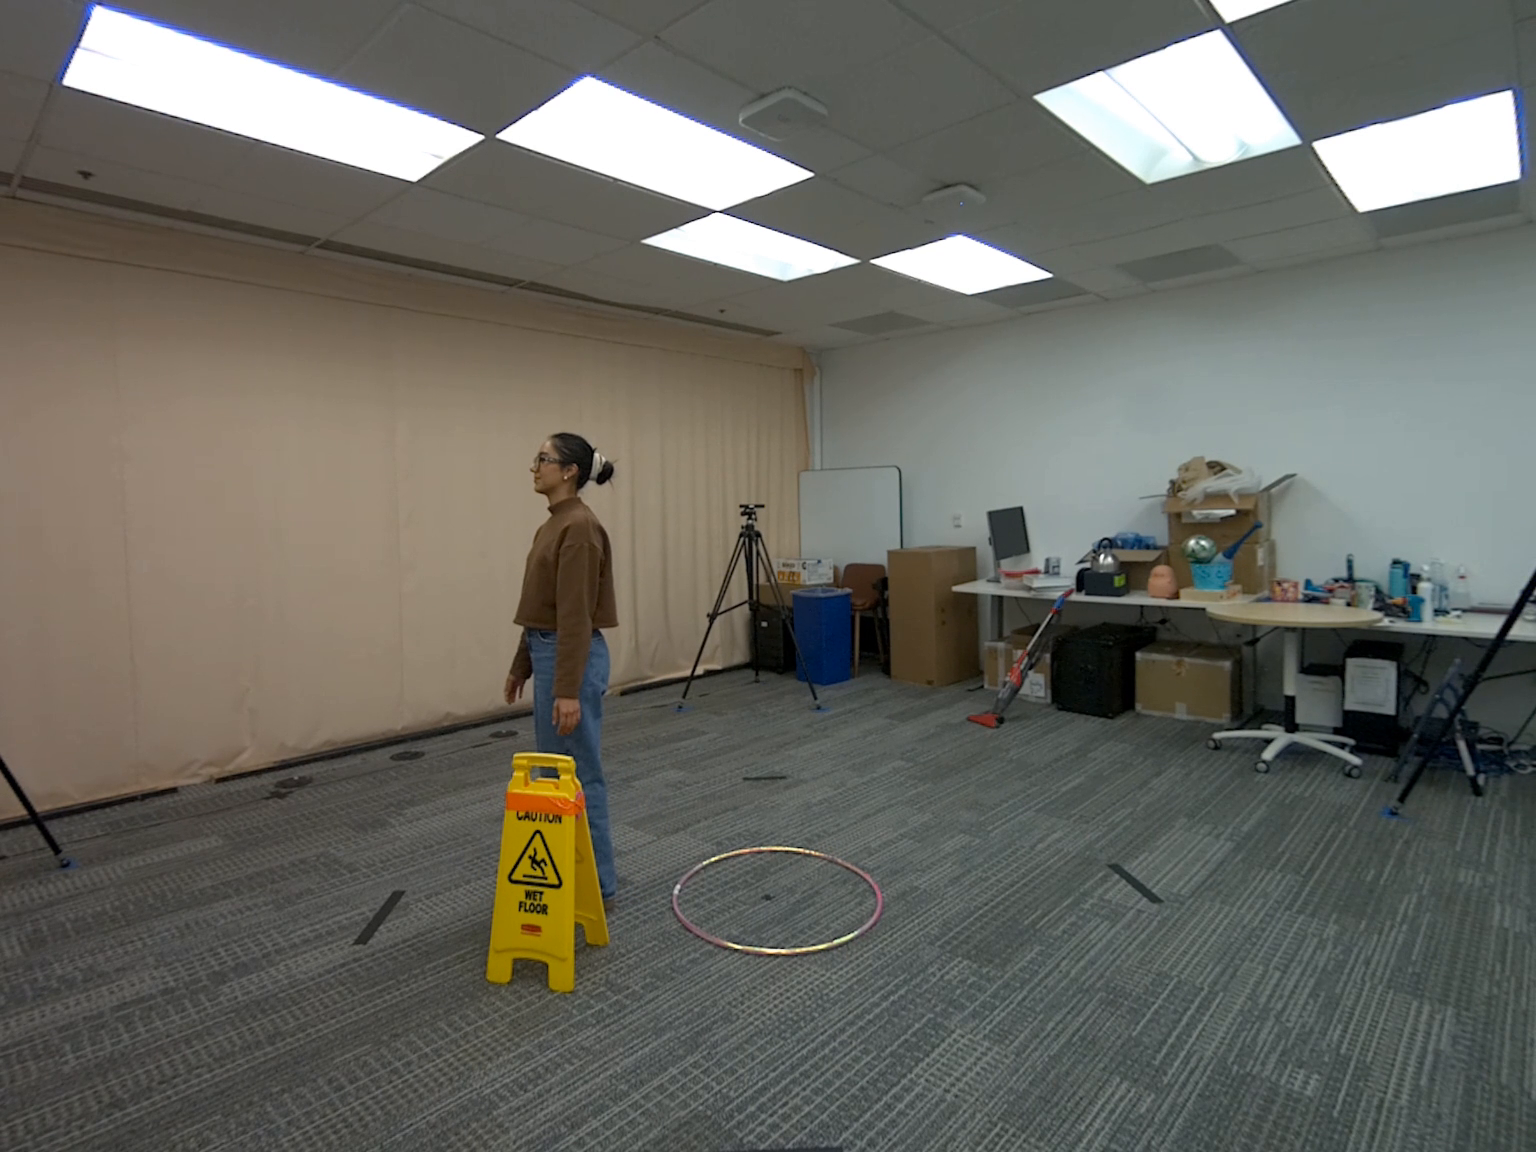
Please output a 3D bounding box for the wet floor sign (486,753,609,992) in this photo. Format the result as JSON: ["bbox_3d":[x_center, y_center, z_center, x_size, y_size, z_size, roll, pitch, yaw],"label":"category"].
[{"bbox_3d":[-0.677,0.862,2.575,0.287,0.645,0.286,-1,2,14],"label":"wet floor sign"}]
